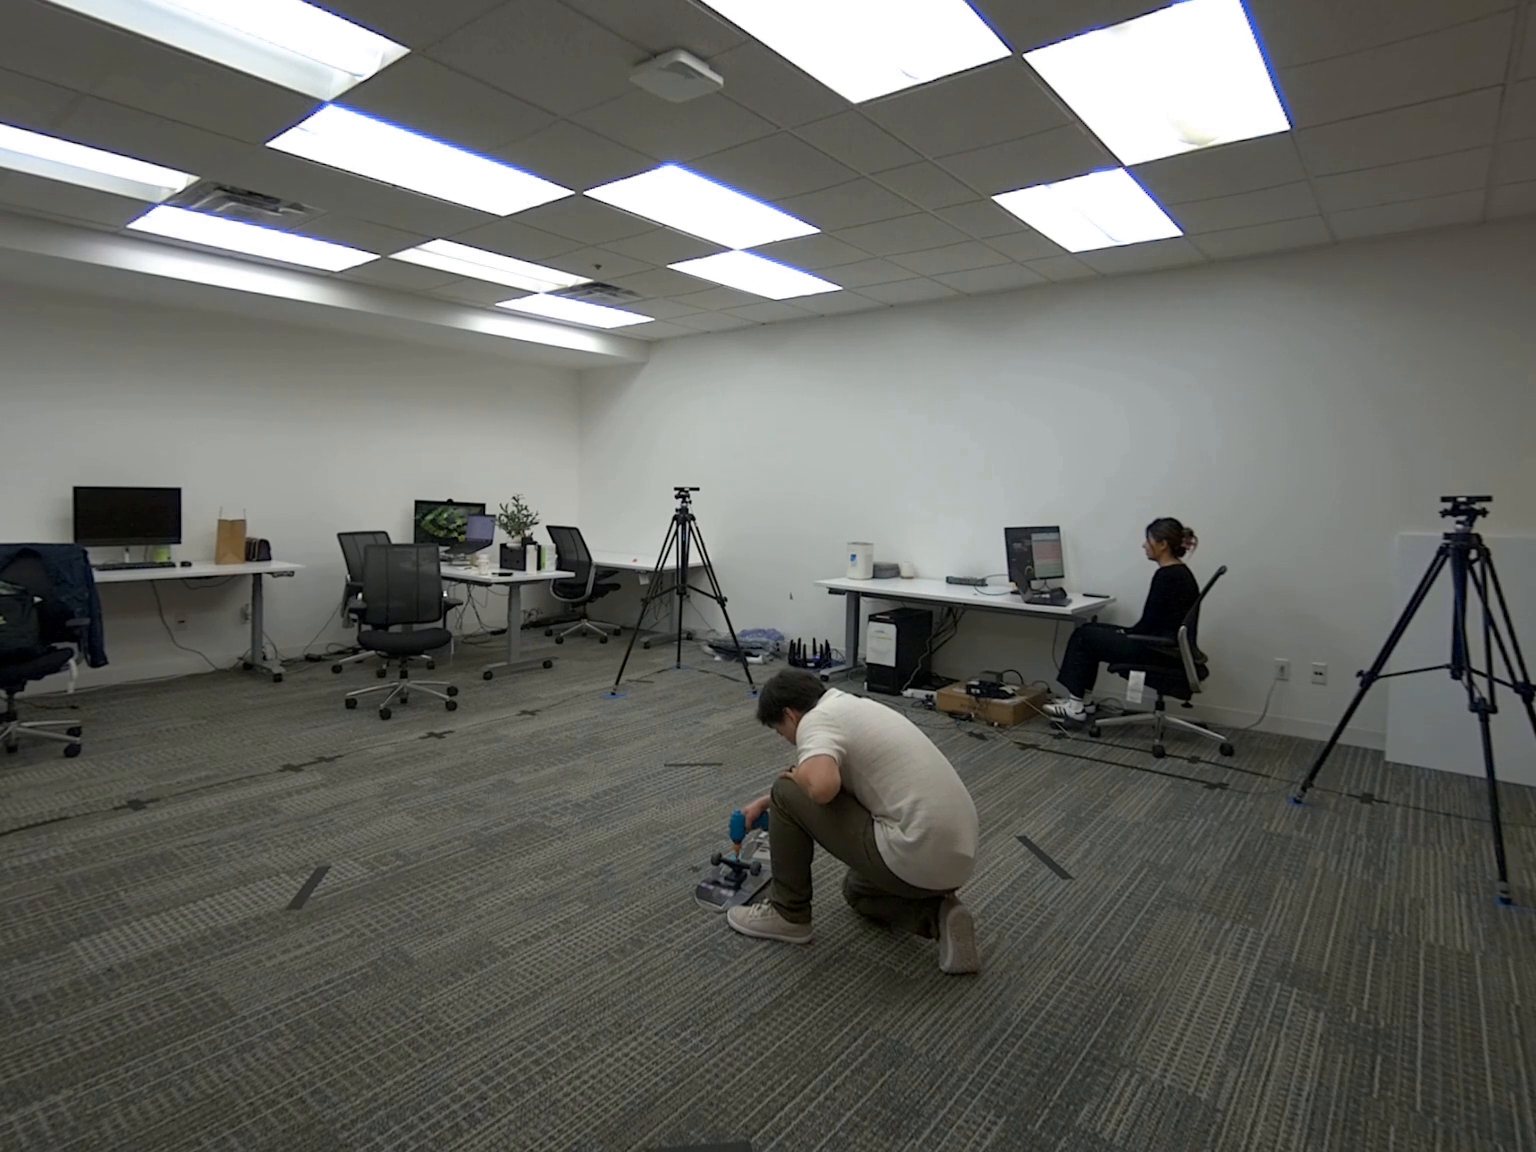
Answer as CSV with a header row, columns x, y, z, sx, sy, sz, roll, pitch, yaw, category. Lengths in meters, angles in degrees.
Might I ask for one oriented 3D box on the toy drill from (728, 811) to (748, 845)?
x,y,z,sx,sy,sz,roll,pitch,yaw,category
-0.074,0.901,2.985,0.144,0.171,0.061,-1,-8,-14,toy drill
